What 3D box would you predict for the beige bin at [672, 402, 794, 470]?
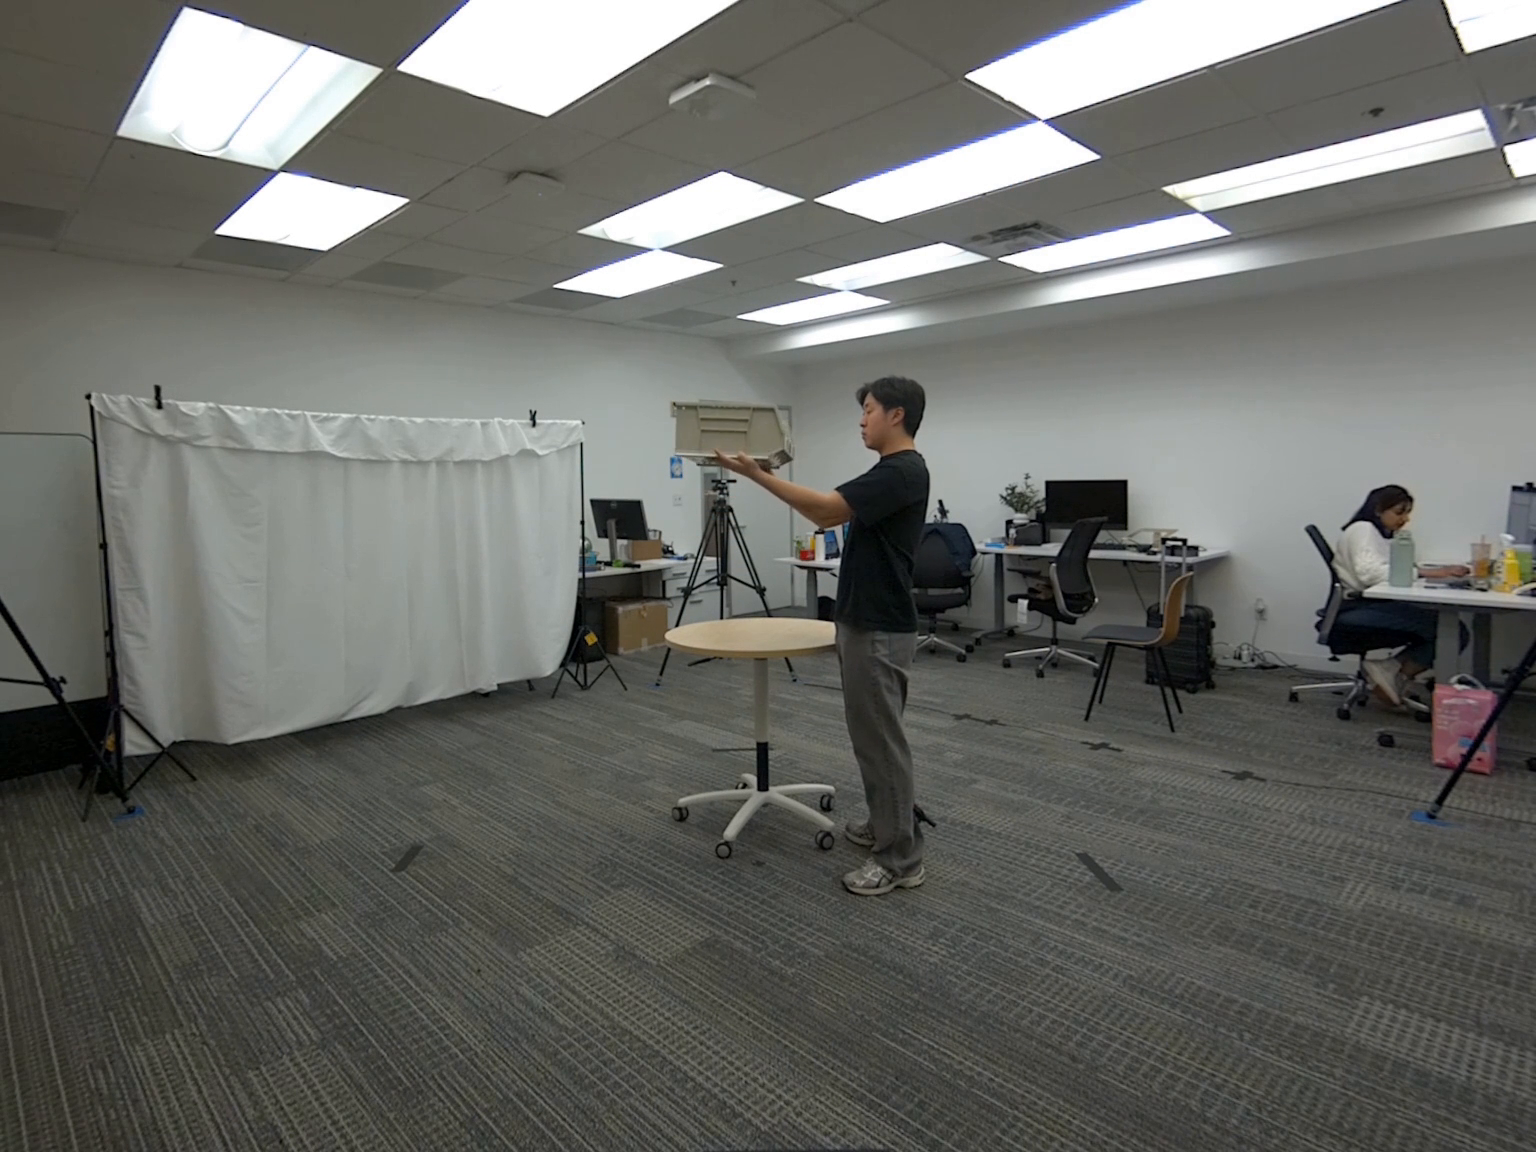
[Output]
[{"bbox_3d":[-0.104,-0.488,2.990,0.381,0.189,0.419,1,3,7],"label":"beige bin"}]
